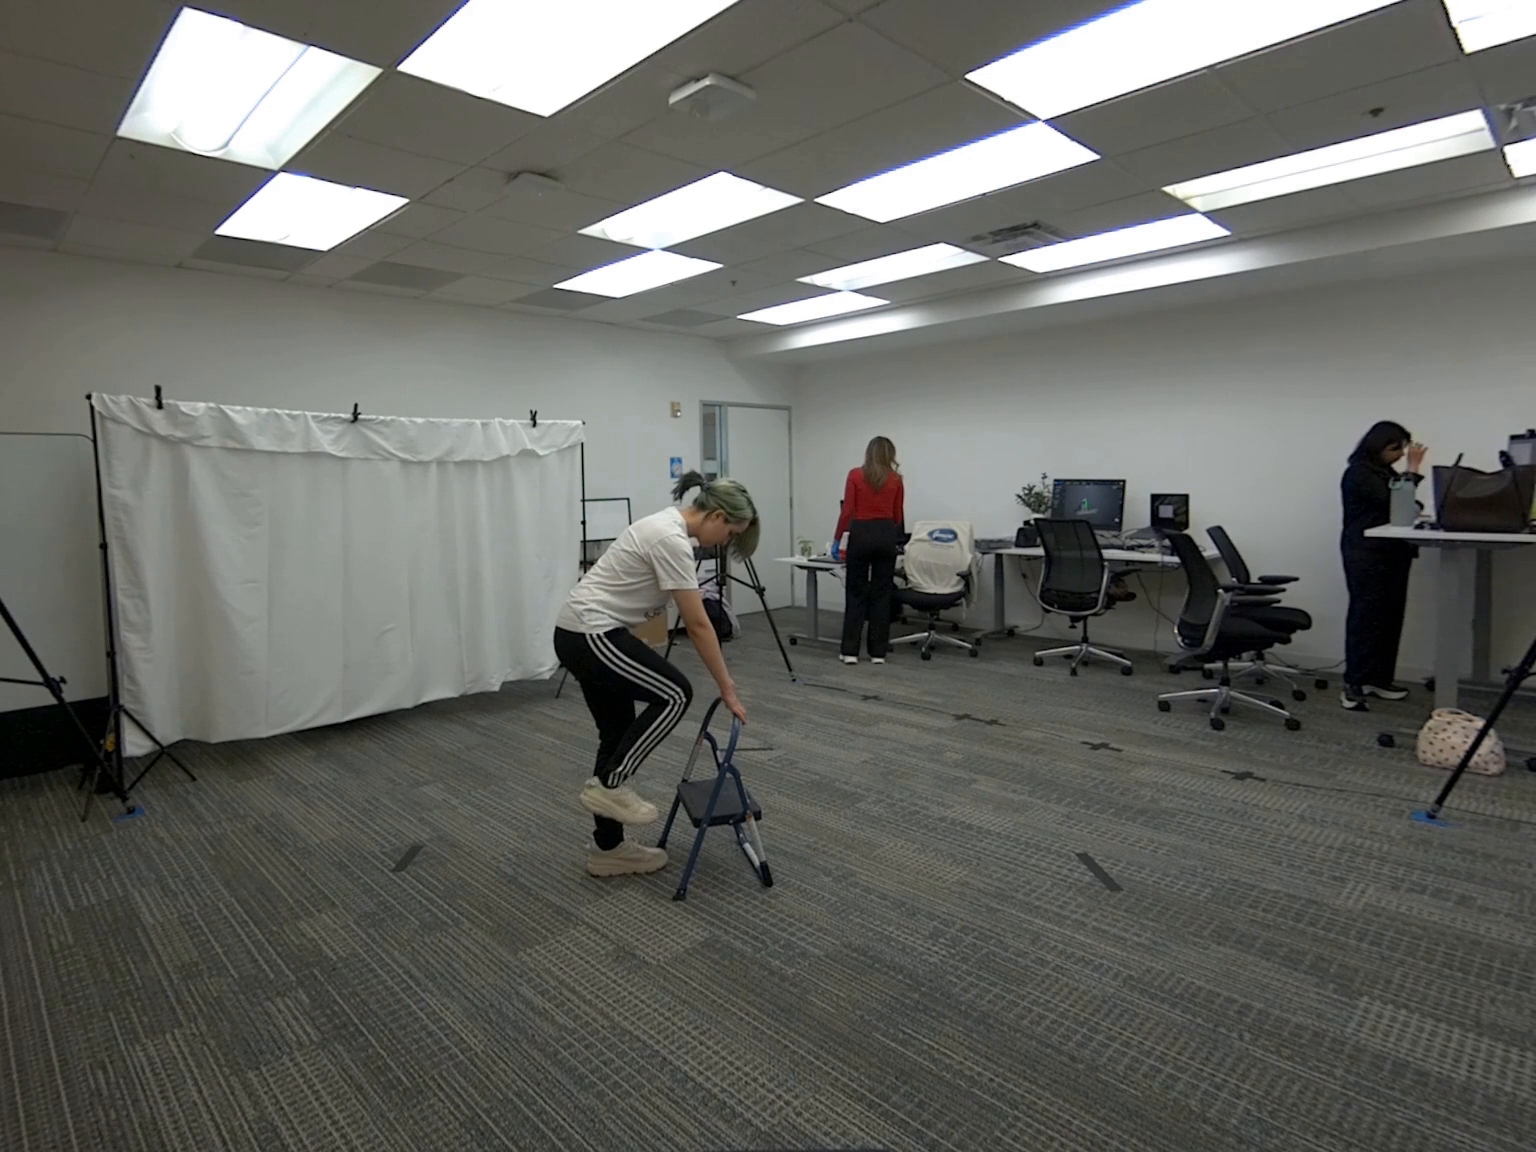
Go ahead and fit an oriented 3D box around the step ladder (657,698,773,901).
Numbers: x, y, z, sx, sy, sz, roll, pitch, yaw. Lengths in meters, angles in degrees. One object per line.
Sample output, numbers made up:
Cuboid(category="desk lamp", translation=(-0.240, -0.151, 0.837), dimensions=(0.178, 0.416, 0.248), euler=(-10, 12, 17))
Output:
Cuboid(category="step ladder", translation=(-0.206, 0.754, 3.072), dimensions=(0.344, 0.603, 0.438), euler=(-2, 5, -16))
